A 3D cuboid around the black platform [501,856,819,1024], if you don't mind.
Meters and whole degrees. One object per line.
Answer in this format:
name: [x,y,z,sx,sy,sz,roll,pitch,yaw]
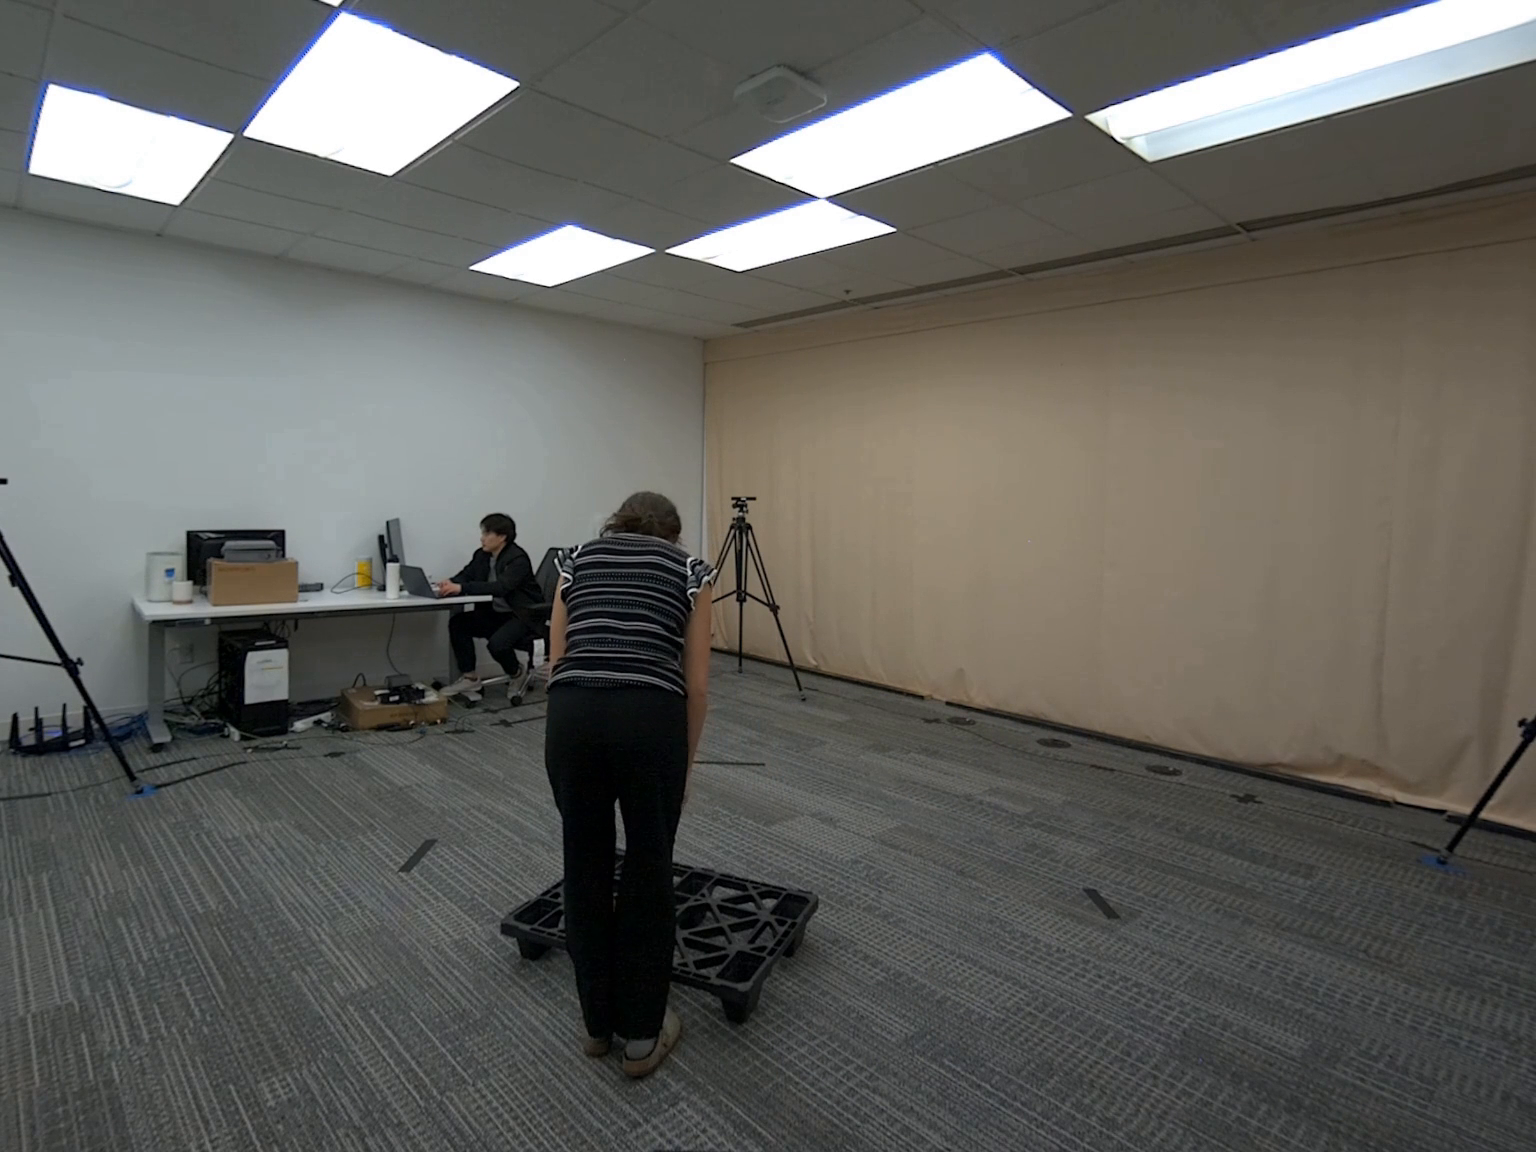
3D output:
black platform: [-0.320,1.081,2.588,0.820,0.143,0.596,4,5,23]
